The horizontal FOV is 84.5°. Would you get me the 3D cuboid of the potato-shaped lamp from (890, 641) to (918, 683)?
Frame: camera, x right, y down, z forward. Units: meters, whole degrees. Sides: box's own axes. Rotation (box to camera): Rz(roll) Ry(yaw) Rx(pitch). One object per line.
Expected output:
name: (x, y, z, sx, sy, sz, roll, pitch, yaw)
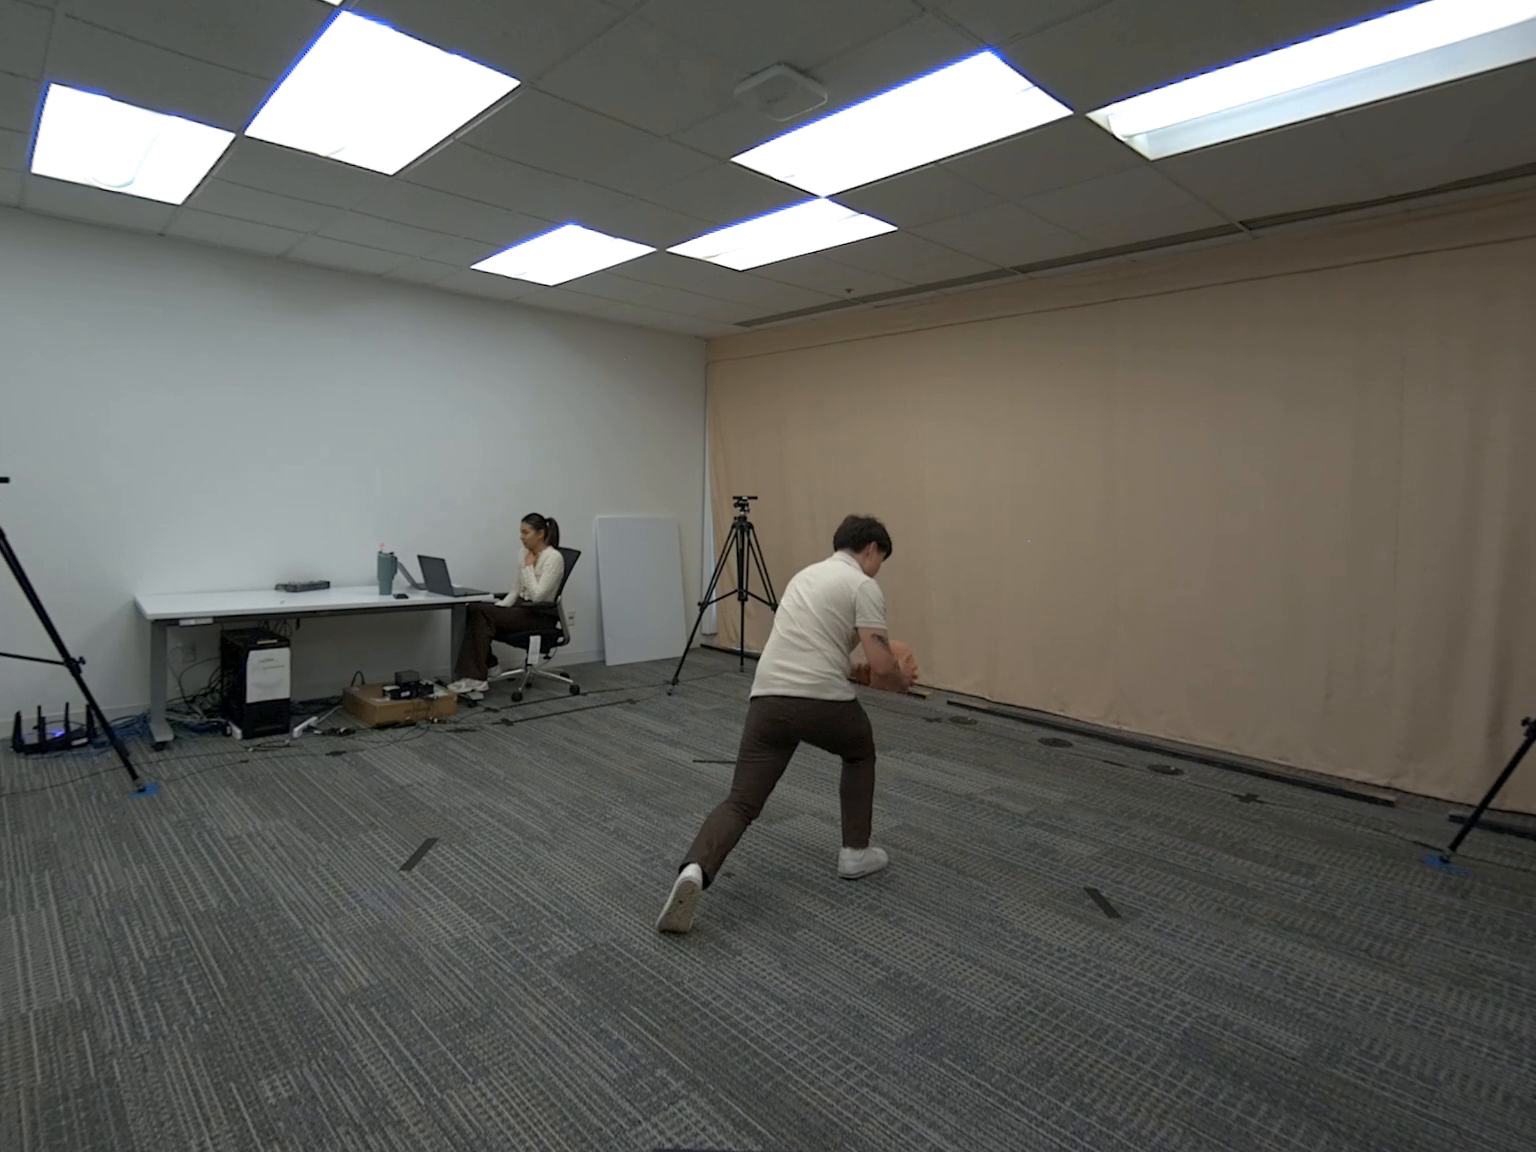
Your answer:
potato-shaped lamp: (0.463, 0.356, 3.285, 0.168, 0.198, 0.167, 4, -2, -24)
